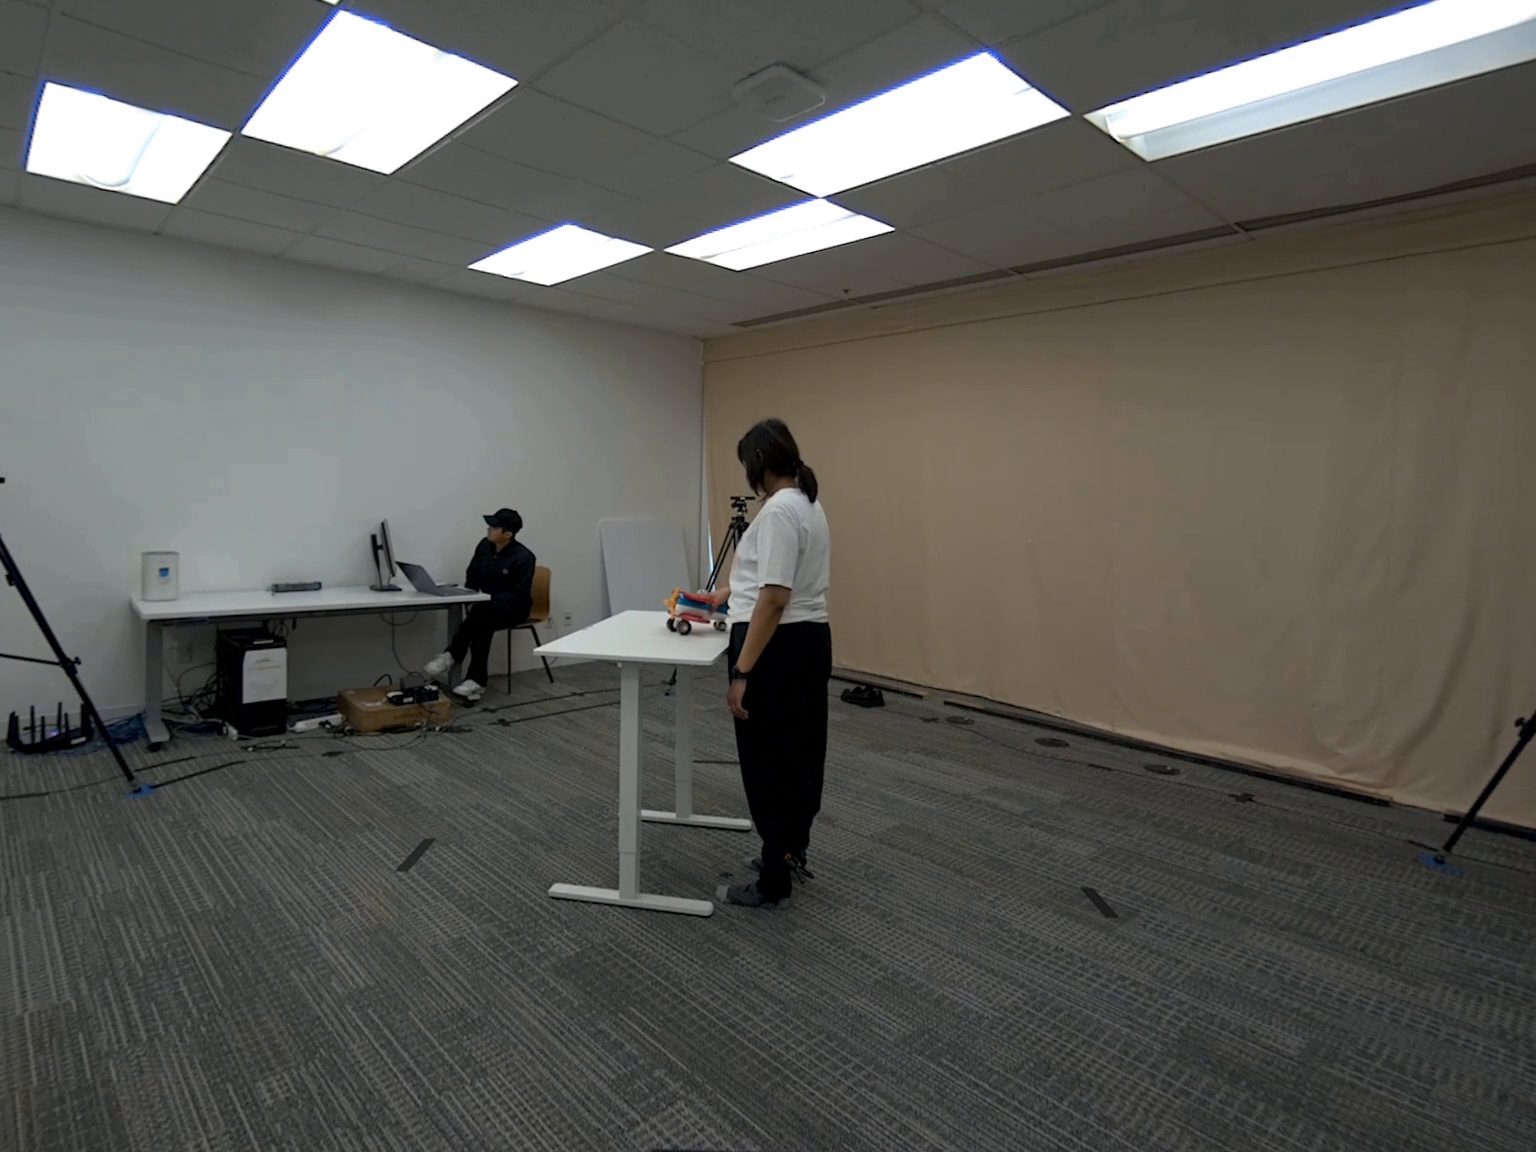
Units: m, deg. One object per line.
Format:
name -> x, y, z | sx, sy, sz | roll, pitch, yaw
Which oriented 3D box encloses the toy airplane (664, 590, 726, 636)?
toy airplane -> -0.275, 0.135, 3.192 | 0.257, 0.156, 0.254 | 4, 6, 31
